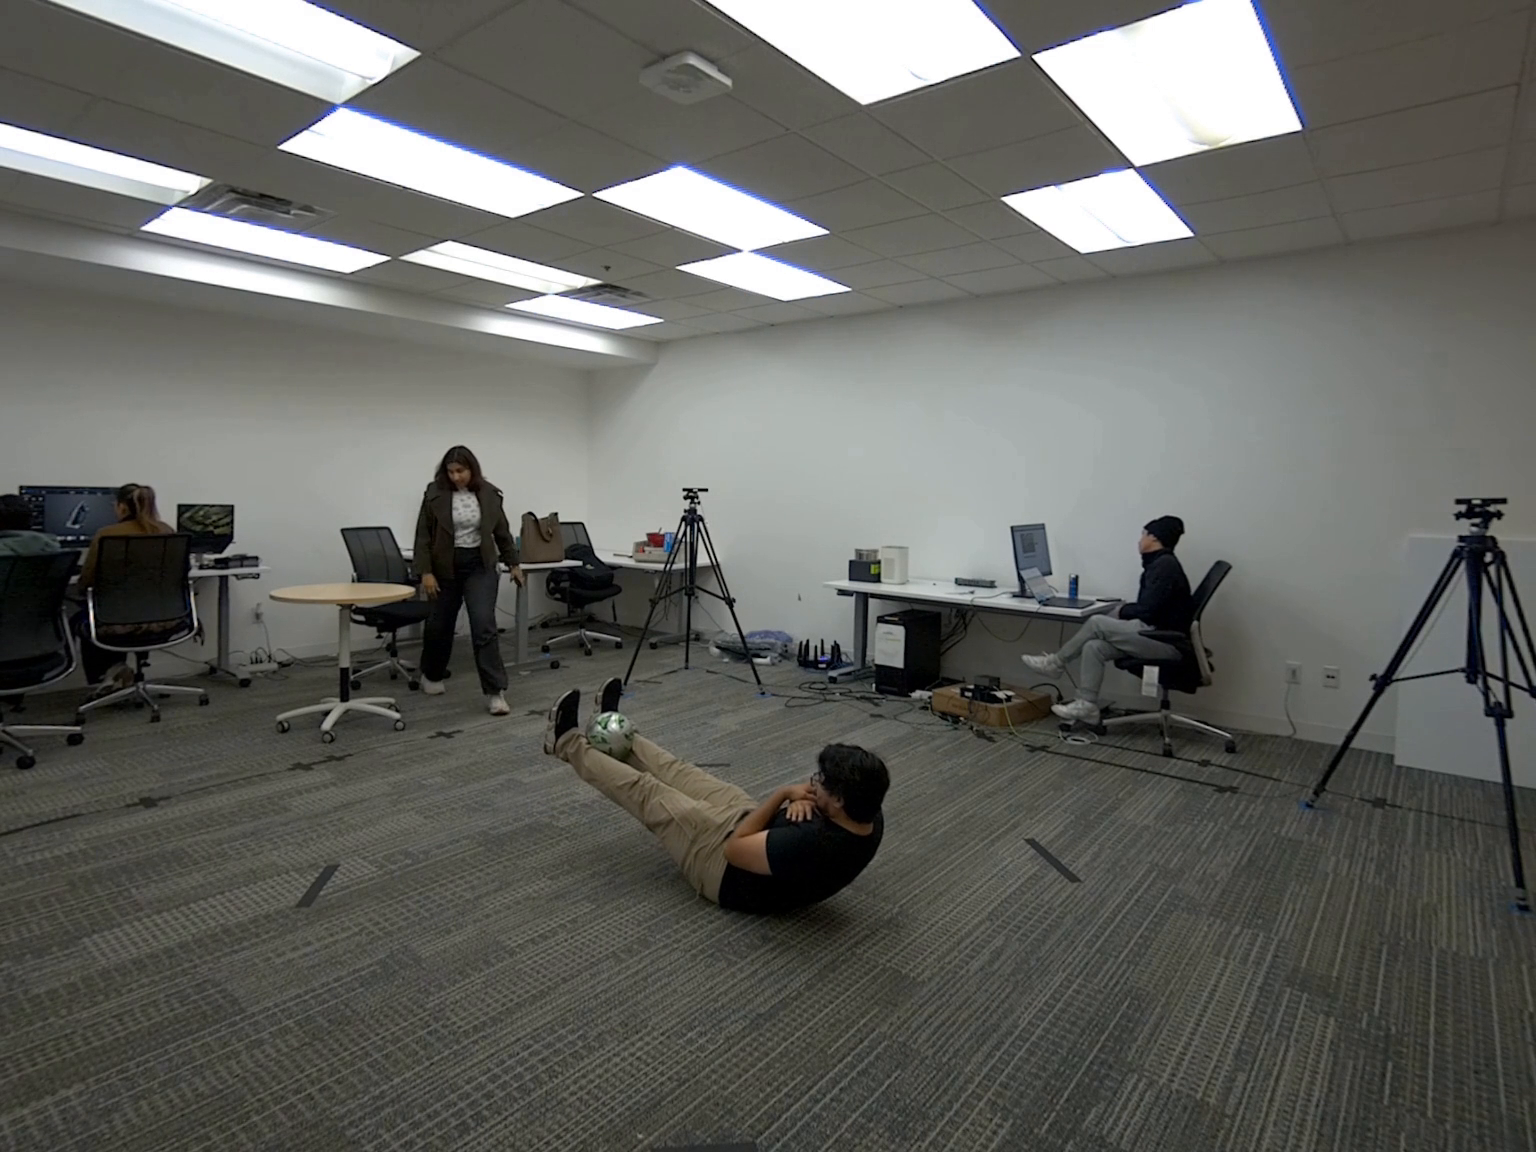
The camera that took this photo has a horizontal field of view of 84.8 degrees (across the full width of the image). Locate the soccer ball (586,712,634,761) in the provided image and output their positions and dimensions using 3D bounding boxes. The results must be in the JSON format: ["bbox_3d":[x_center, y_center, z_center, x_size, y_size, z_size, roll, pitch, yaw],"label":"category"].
[{"bbox_3d":[-0.633,0.629,3.315,0.187,0.187,0.188,0,4,-2],"label":"soccer ball"}]
